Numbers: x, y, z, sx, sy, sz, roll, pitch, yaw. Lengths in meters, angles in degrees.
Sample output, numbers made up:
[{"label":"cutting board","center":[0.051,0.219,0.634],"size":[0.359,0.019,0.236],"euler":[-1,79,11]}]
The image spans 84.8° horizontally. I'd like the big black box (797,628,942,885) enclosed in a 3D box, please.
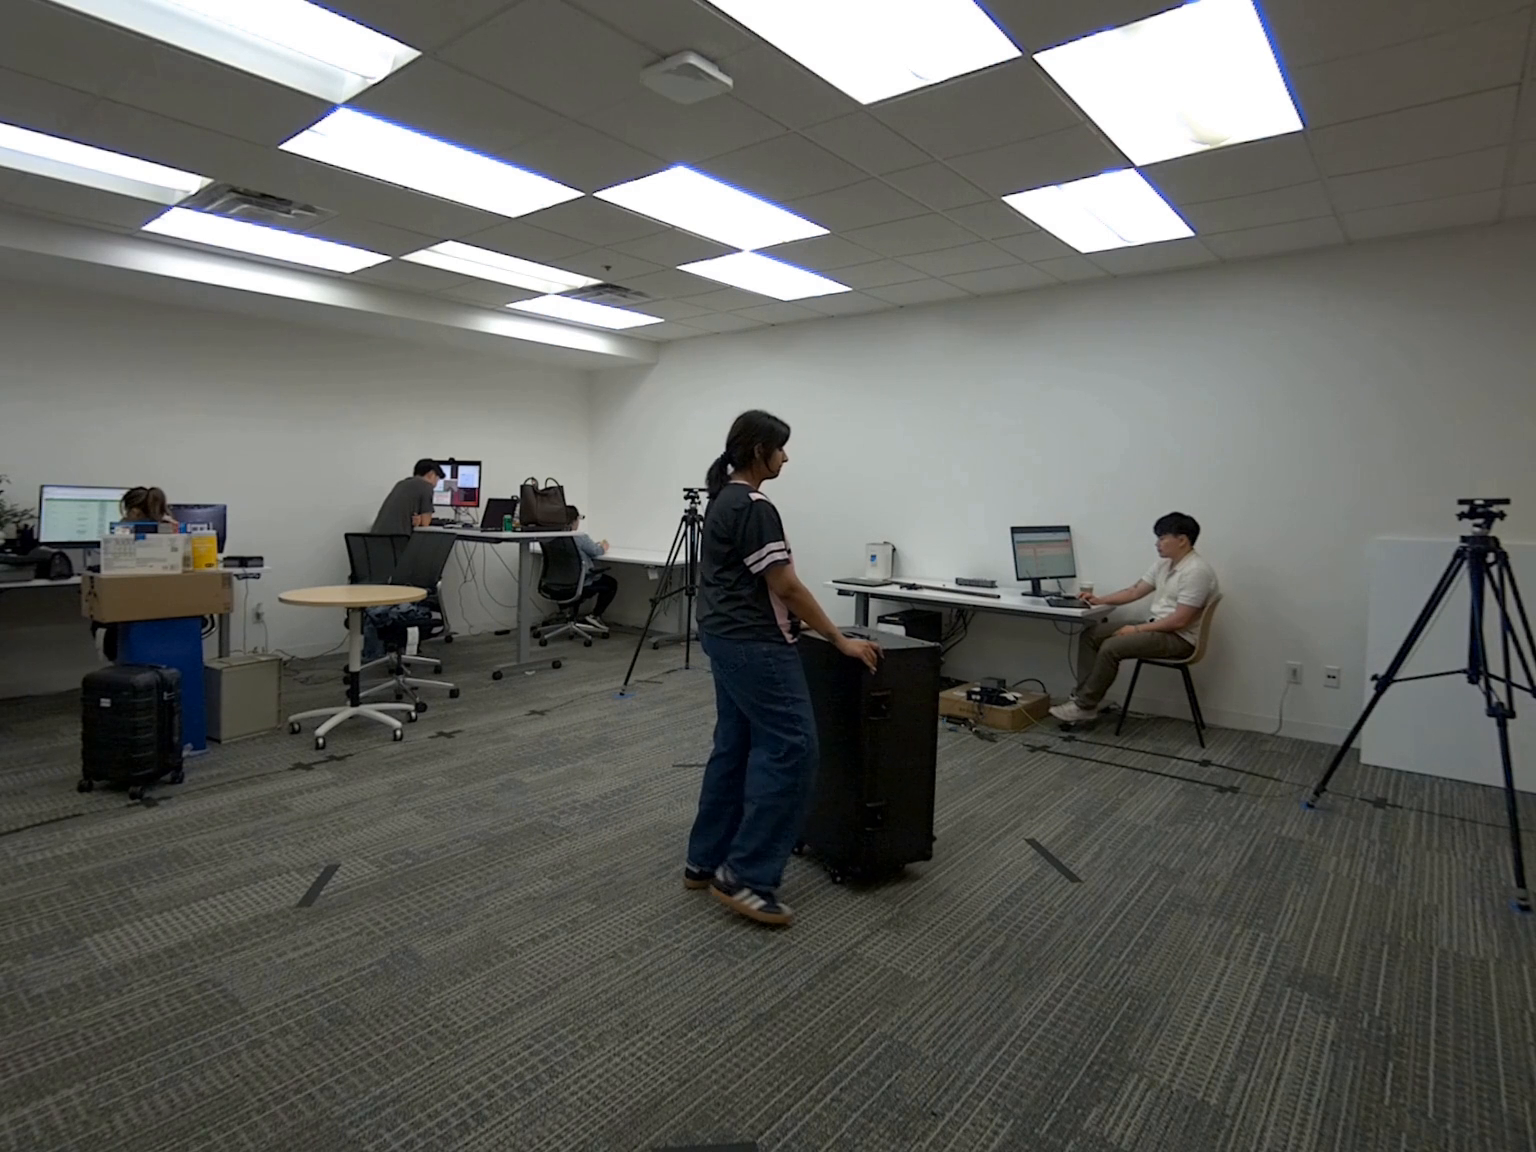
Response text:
[{"label":"big black box","center":[0.321,0.649,3.198],"size":[0.375,0.866,0.539],"euler":[0,3,-31]}]
